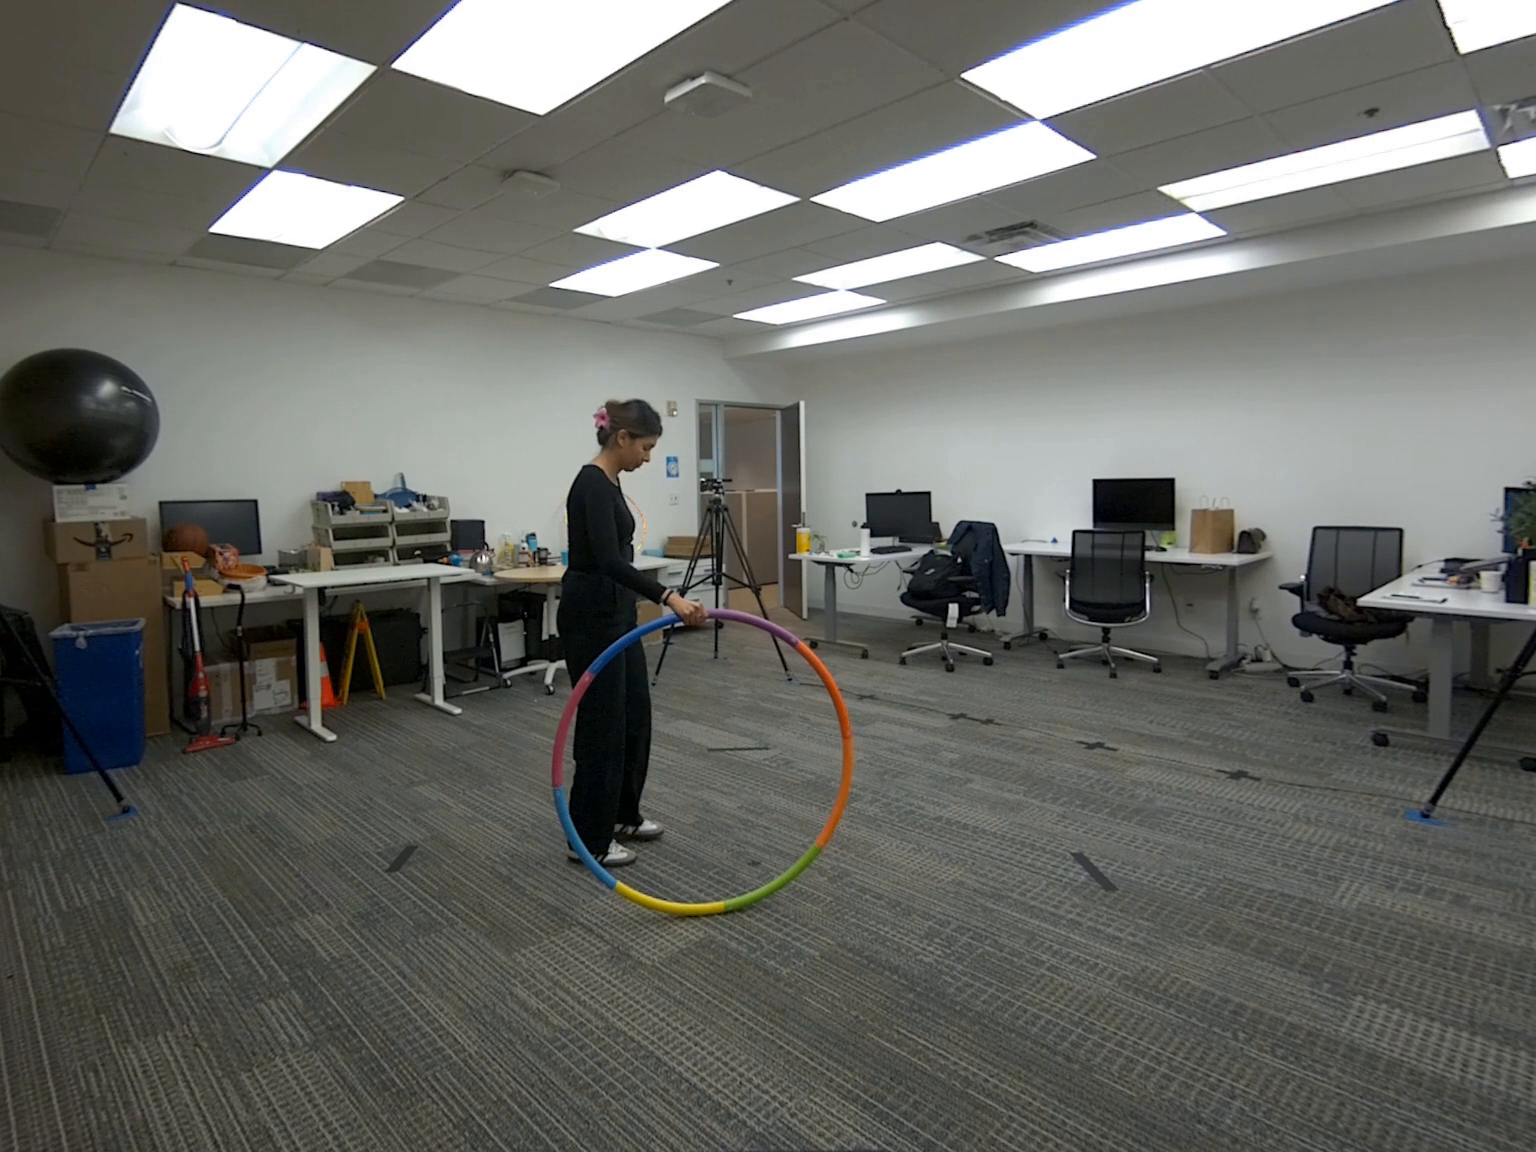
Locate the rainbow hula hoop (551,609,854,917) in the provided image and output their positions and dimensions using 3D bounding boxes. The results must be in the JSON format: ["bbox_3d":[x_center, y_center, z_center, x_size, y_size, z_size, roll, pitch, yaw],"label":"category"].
[{"bbox_3d":[-0.195,0.592,2.767,0.967,0.980,0.036,-2,-2,-12],"label":"rainbow hula hoop"}]
